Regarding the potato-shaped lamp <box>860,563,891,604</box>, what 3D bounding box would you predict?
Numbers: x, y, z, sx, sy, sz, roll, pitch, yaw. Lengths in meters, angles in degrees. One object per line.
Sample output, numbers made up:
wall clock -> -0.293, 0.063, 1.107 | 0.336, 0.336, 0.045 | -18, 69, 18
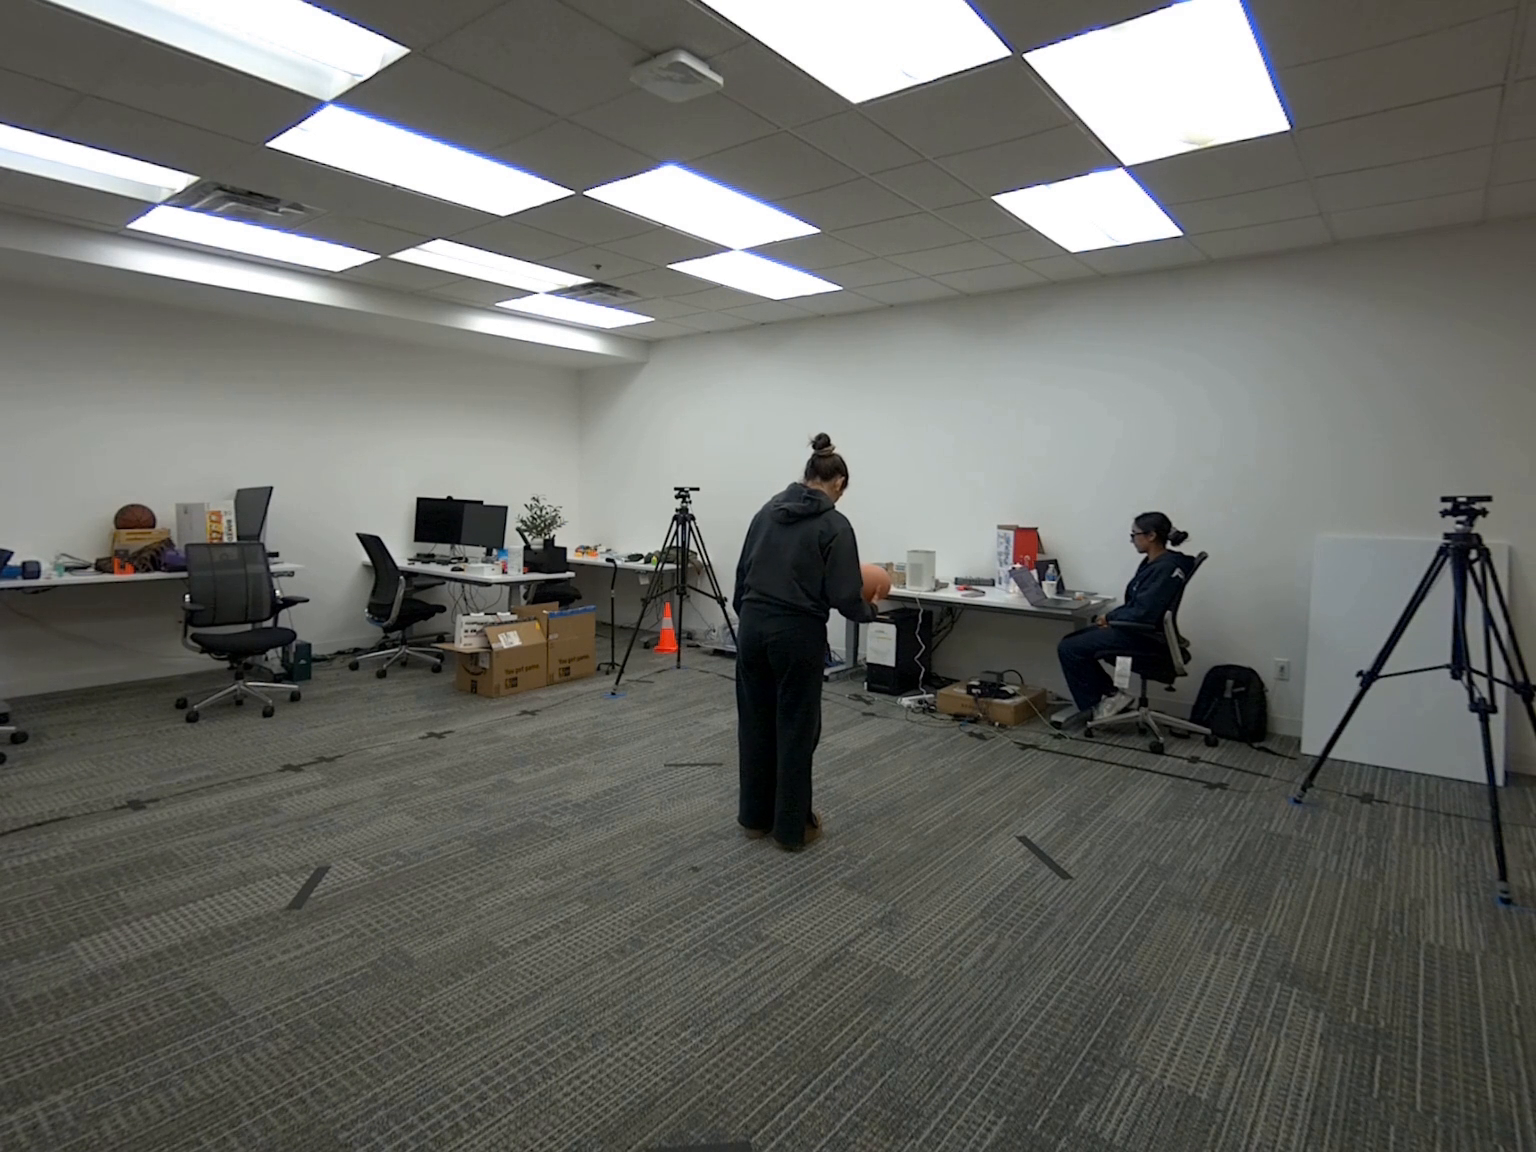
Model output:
potato-shaped lamp -> 0.390, 0.029, 3.442 | 0.194, 0.170, 0.169 | 7, -41, -17
